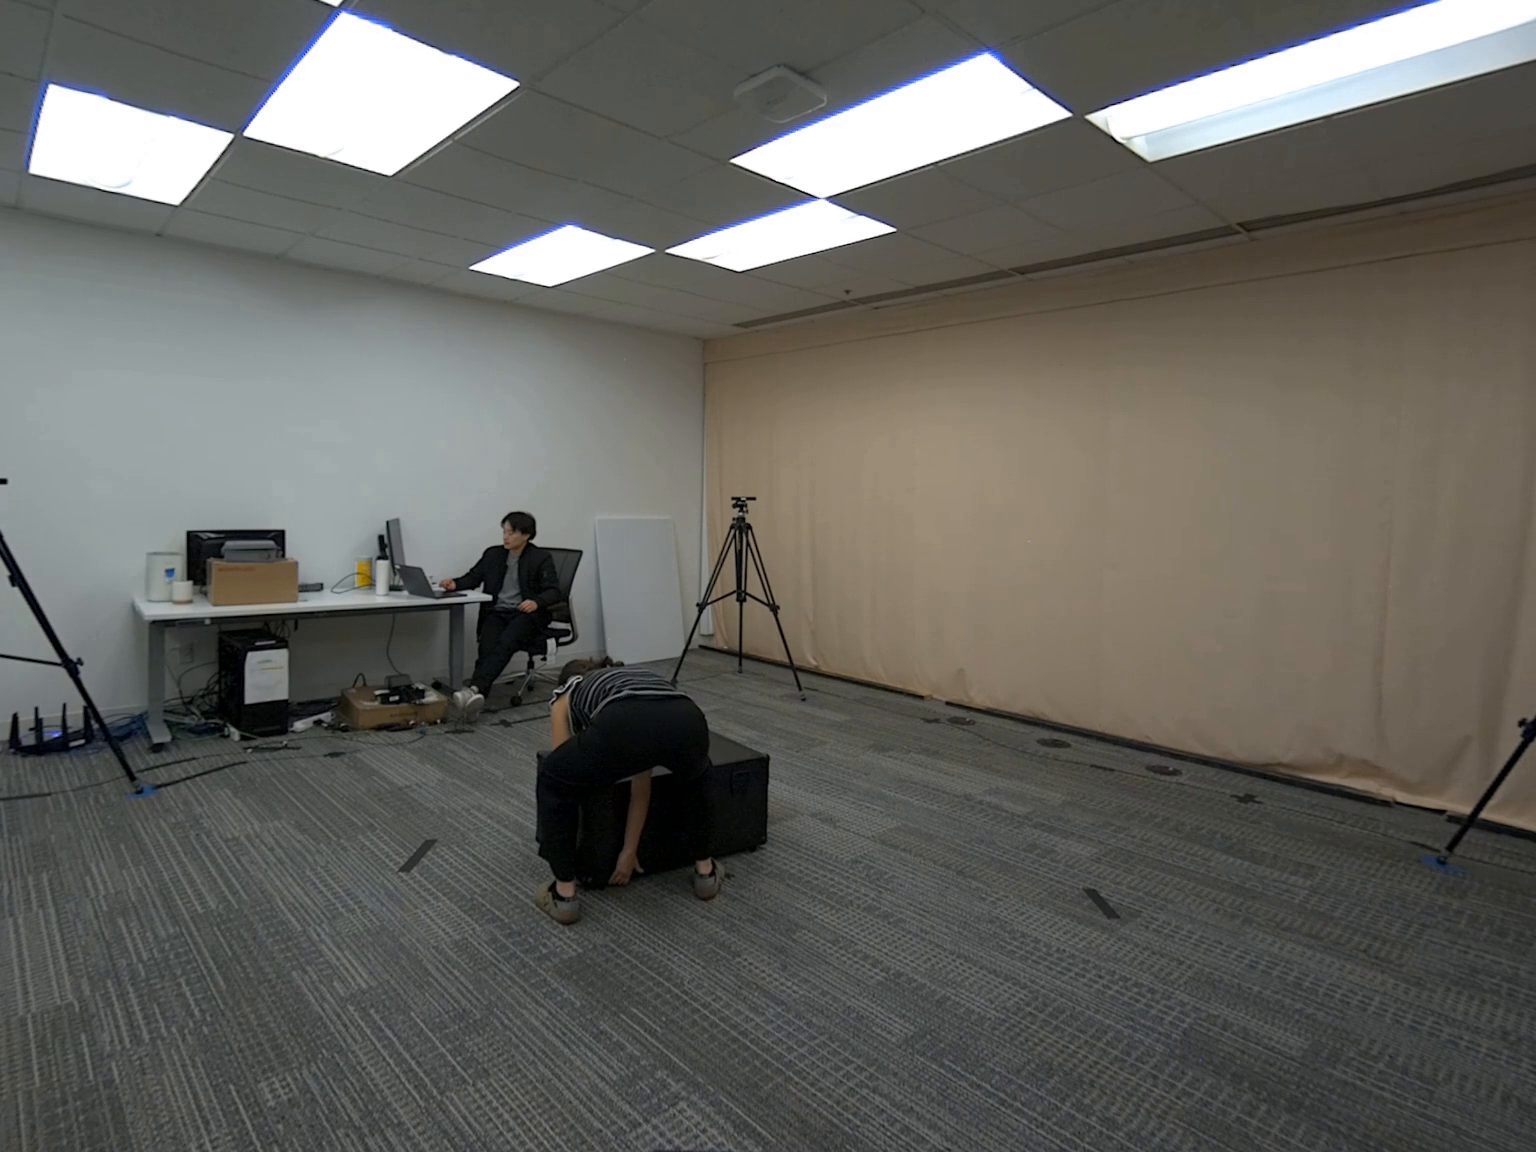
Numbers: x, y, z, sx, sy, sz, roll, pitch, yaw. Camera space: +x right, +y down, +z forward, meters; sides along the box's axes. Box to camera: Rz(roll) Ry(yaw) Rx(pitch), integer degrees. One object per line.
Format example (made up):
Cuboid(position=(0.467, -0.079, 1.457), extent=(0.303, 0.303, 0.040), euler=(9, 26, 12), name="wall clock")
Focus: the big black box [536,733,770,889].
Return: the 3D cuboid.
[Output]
Cuboid(position=(-0.429, 0.891, 3.350), extent=(0.843, 0.395, 0.534), euler=(-3, 6, -35), name="big black box")
